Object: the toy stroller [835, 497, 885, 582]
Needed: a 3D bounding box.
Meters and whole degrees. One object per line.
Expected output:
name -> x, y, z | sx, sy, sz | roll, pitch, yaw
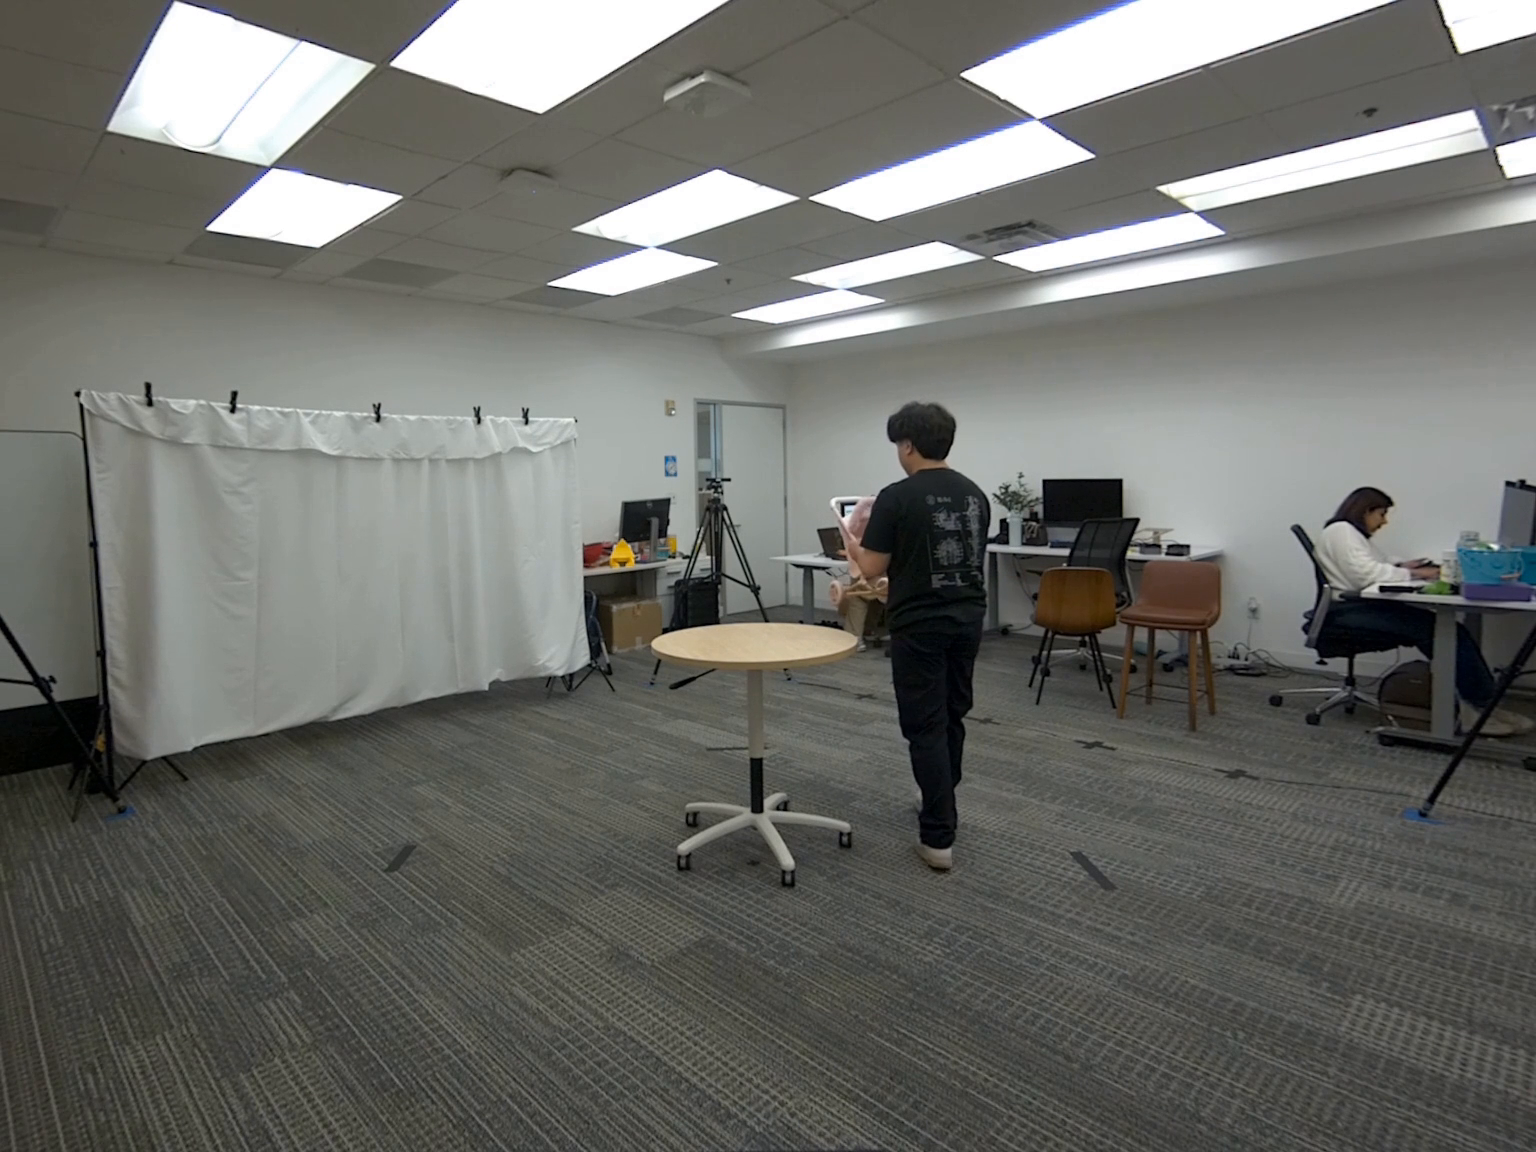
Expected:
toy stroller -> 0.446, -0.094, 3.593 | 0.276, 0.538, 0.345 | -3, -6, -20
